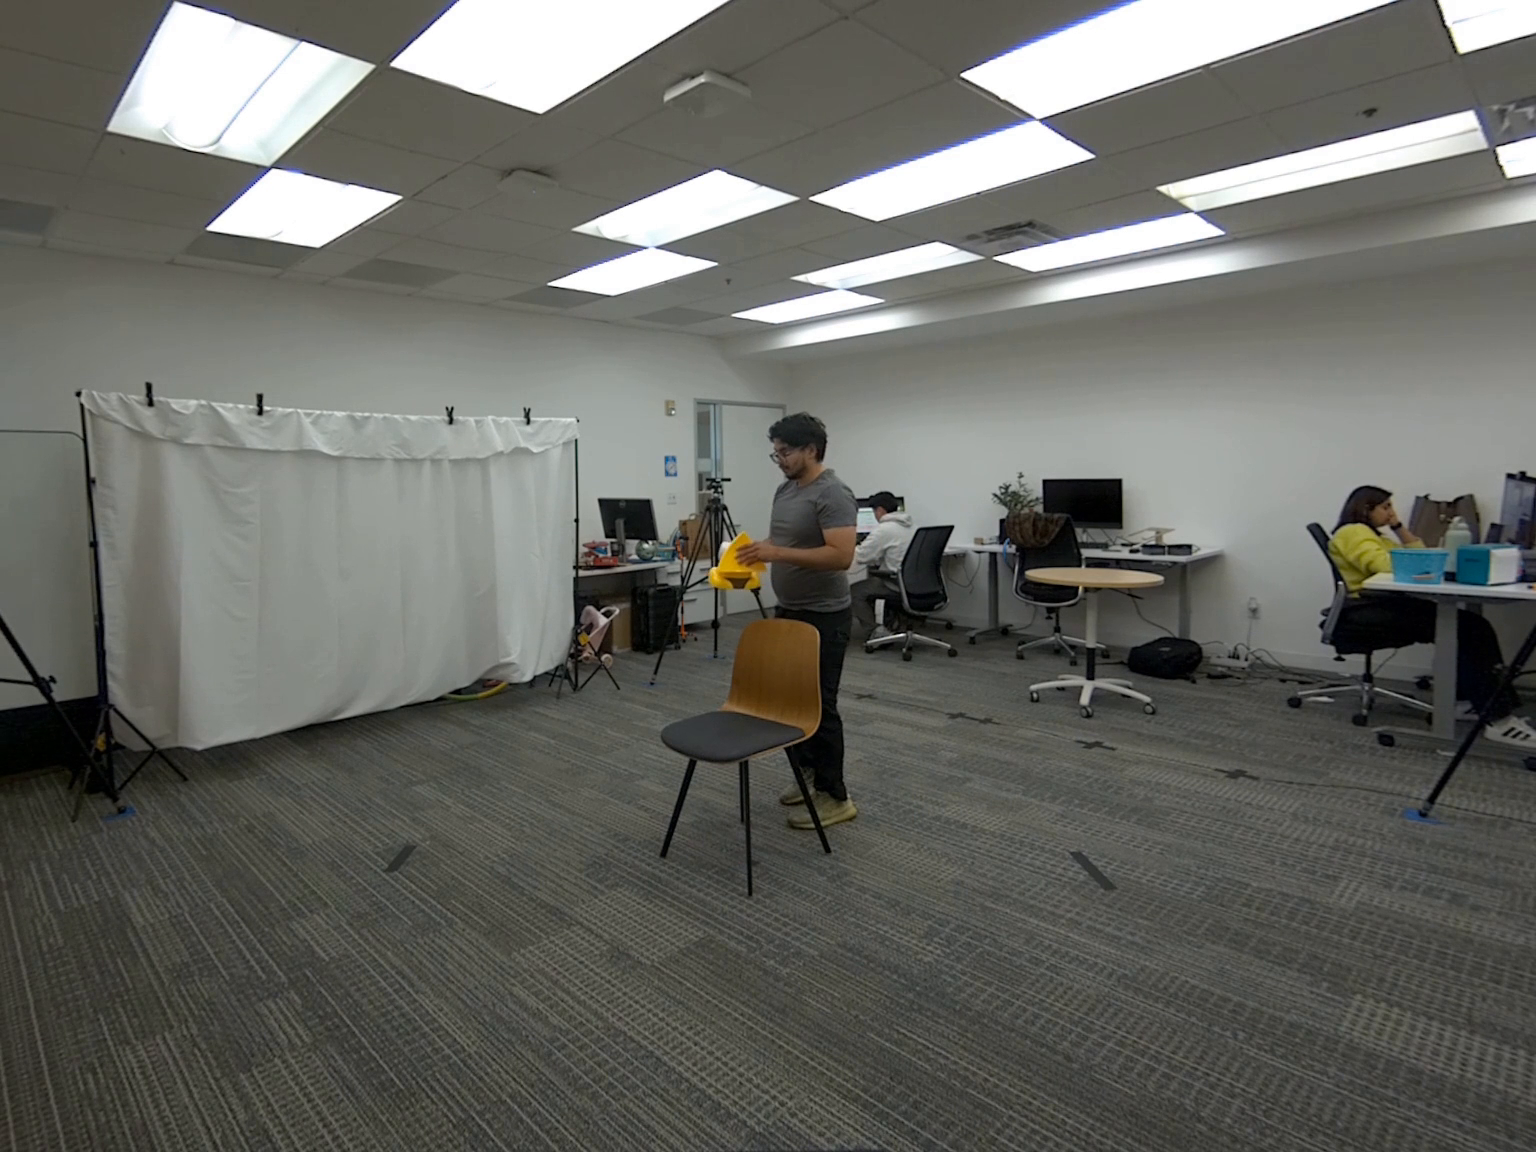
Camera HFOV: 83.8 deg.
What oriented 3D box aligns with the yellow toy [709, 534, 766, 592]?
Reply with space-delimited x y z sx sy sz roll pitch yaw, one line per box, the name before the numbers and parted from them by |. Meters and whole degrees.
yellow toy | -0.117 -0.083 3.325 0.202 0.227 0.199 -2 19 -17
